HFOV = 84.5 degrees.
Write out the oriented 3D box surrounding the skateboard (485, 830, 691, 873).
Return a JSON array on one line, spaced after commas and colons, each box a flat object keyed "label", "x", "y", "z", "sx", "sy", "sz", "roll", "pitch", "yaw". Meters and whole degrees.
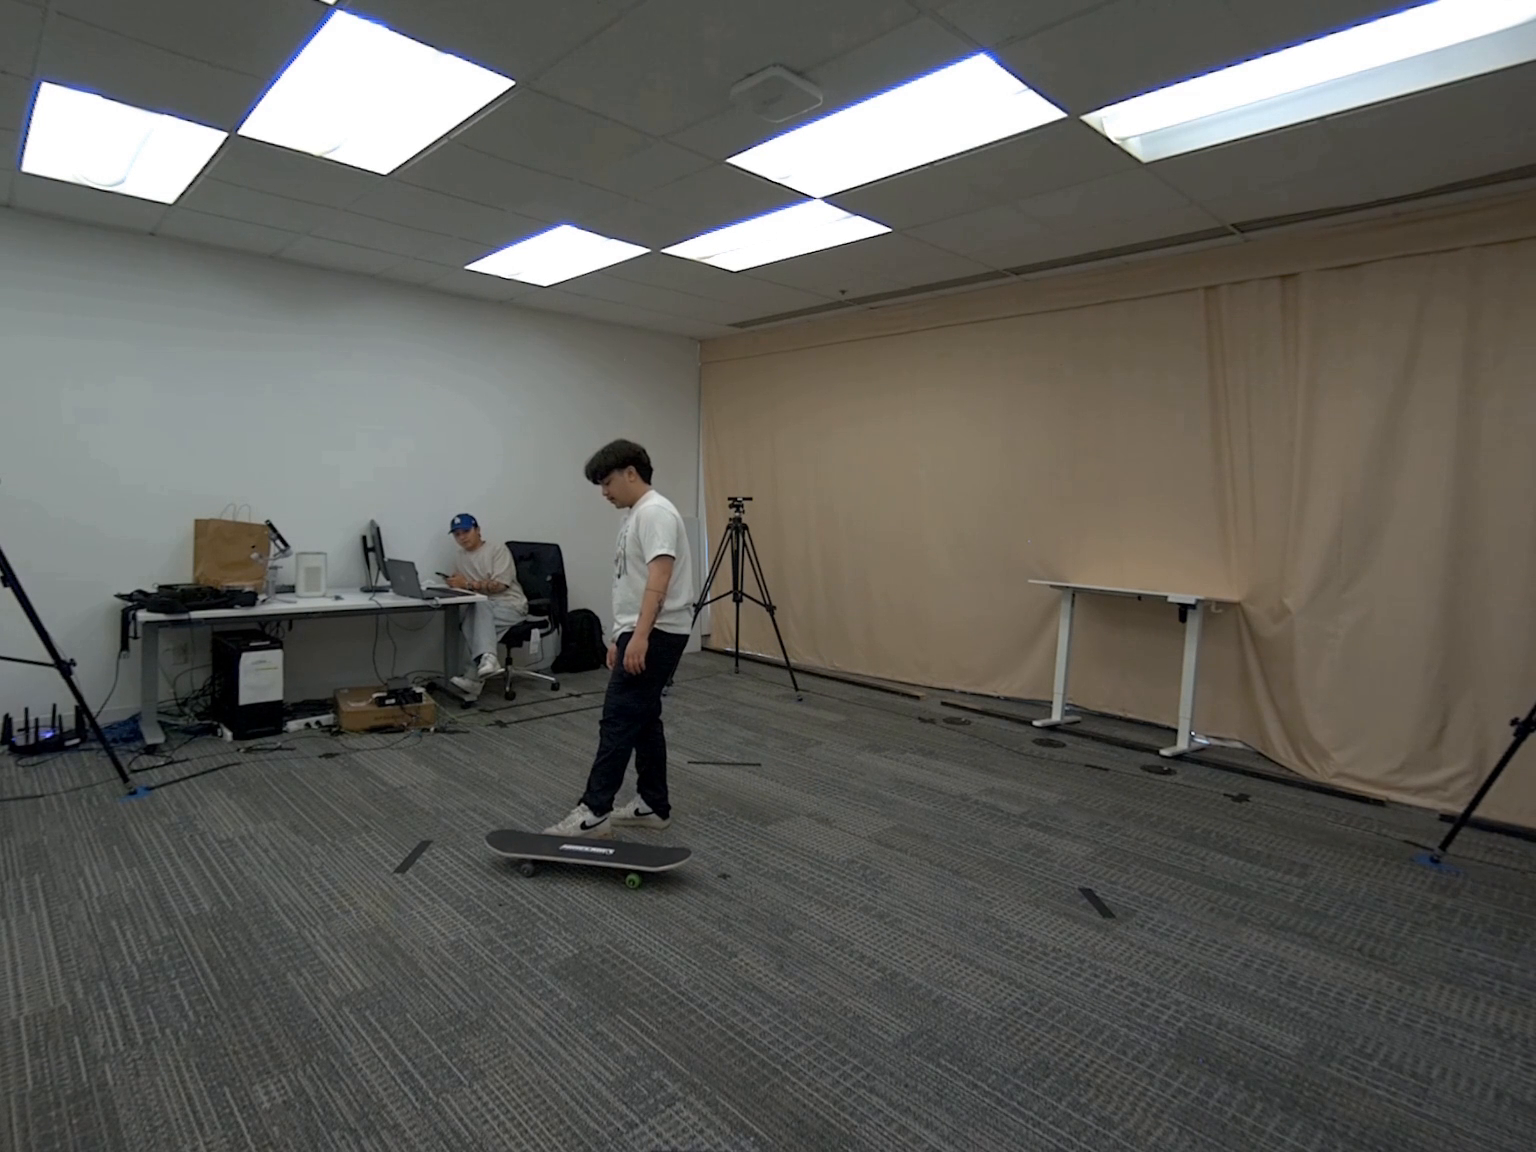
[{"label": "skateboard", "x": -0.658, "y": 1.032, "z": 3.101, "sx": 0.793, "sy": 0.110, "sz": 0.192, "roll": 2, "pitch": 6, "yaw": 11}]
